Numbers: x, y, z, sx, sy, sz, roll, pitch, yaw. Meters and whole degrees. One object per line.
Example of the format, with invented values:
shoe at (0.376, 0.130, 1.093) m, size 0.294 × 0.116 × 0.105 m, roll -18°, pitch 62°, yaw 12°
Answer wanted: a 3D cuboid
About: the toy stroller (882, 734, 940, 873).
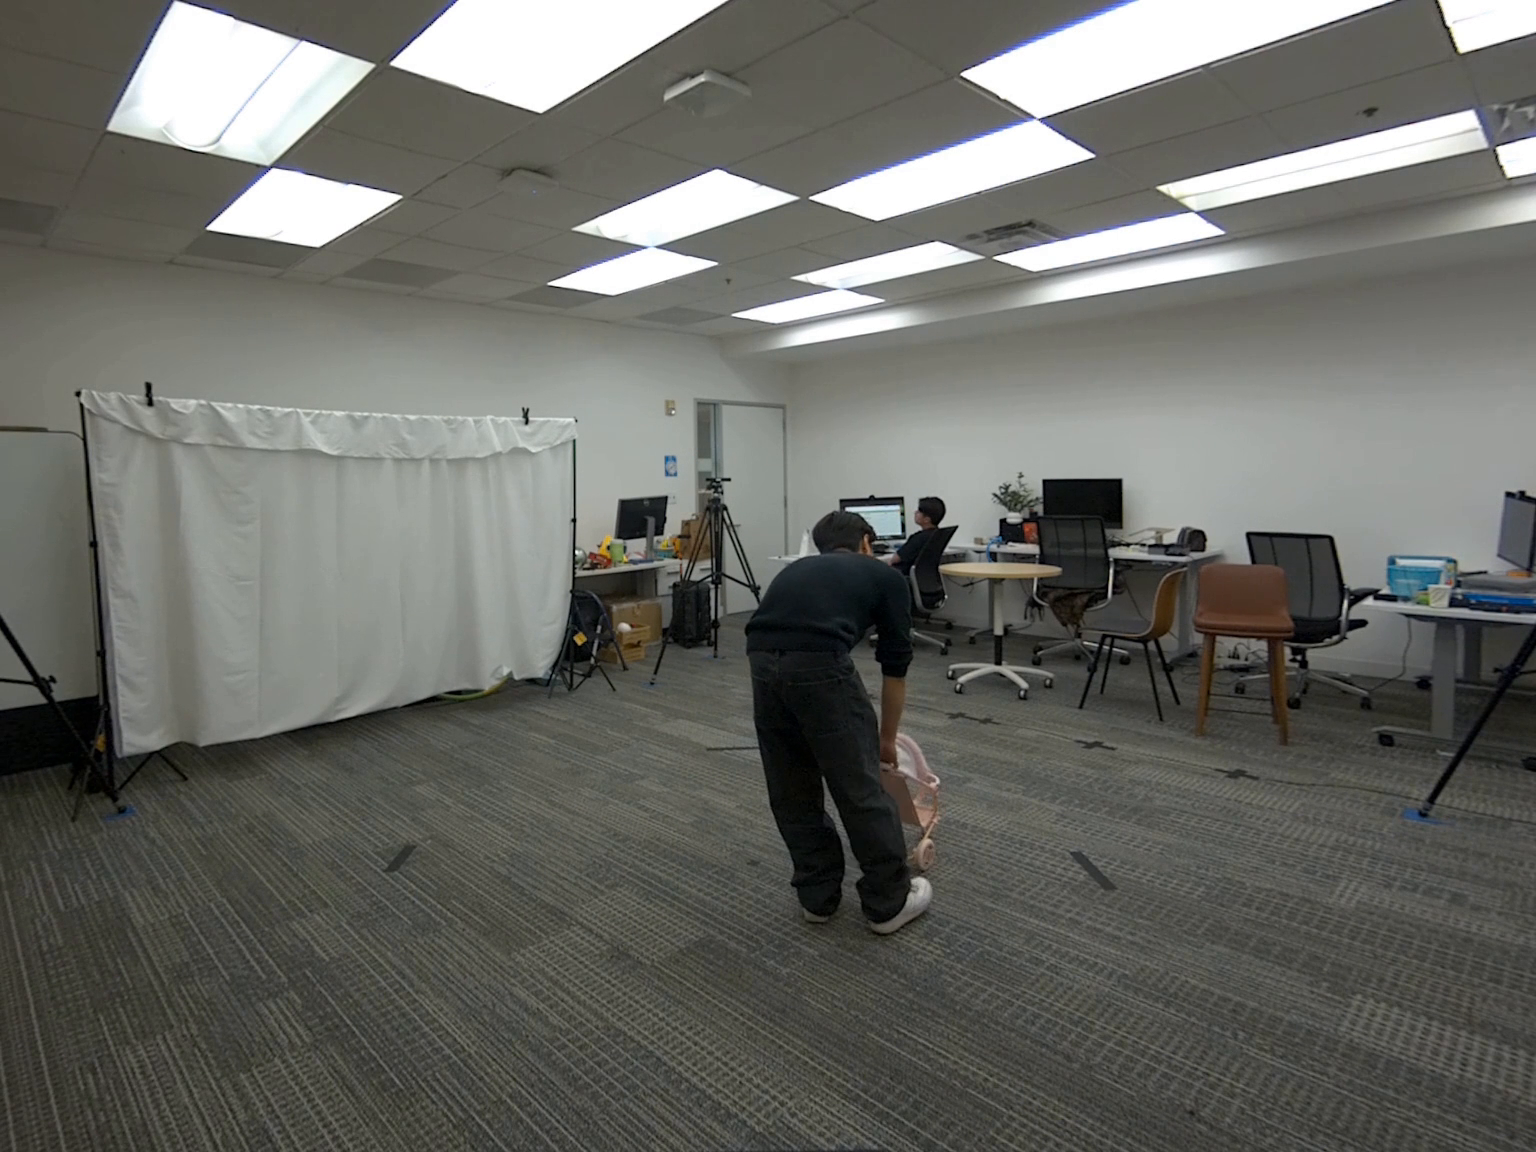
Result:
toy stroller at (0.492, 0.807, 3.134) m, size 0.290 × 0.525 × 0.337 m, roll 3°, pitch 23°, yaw 42°
